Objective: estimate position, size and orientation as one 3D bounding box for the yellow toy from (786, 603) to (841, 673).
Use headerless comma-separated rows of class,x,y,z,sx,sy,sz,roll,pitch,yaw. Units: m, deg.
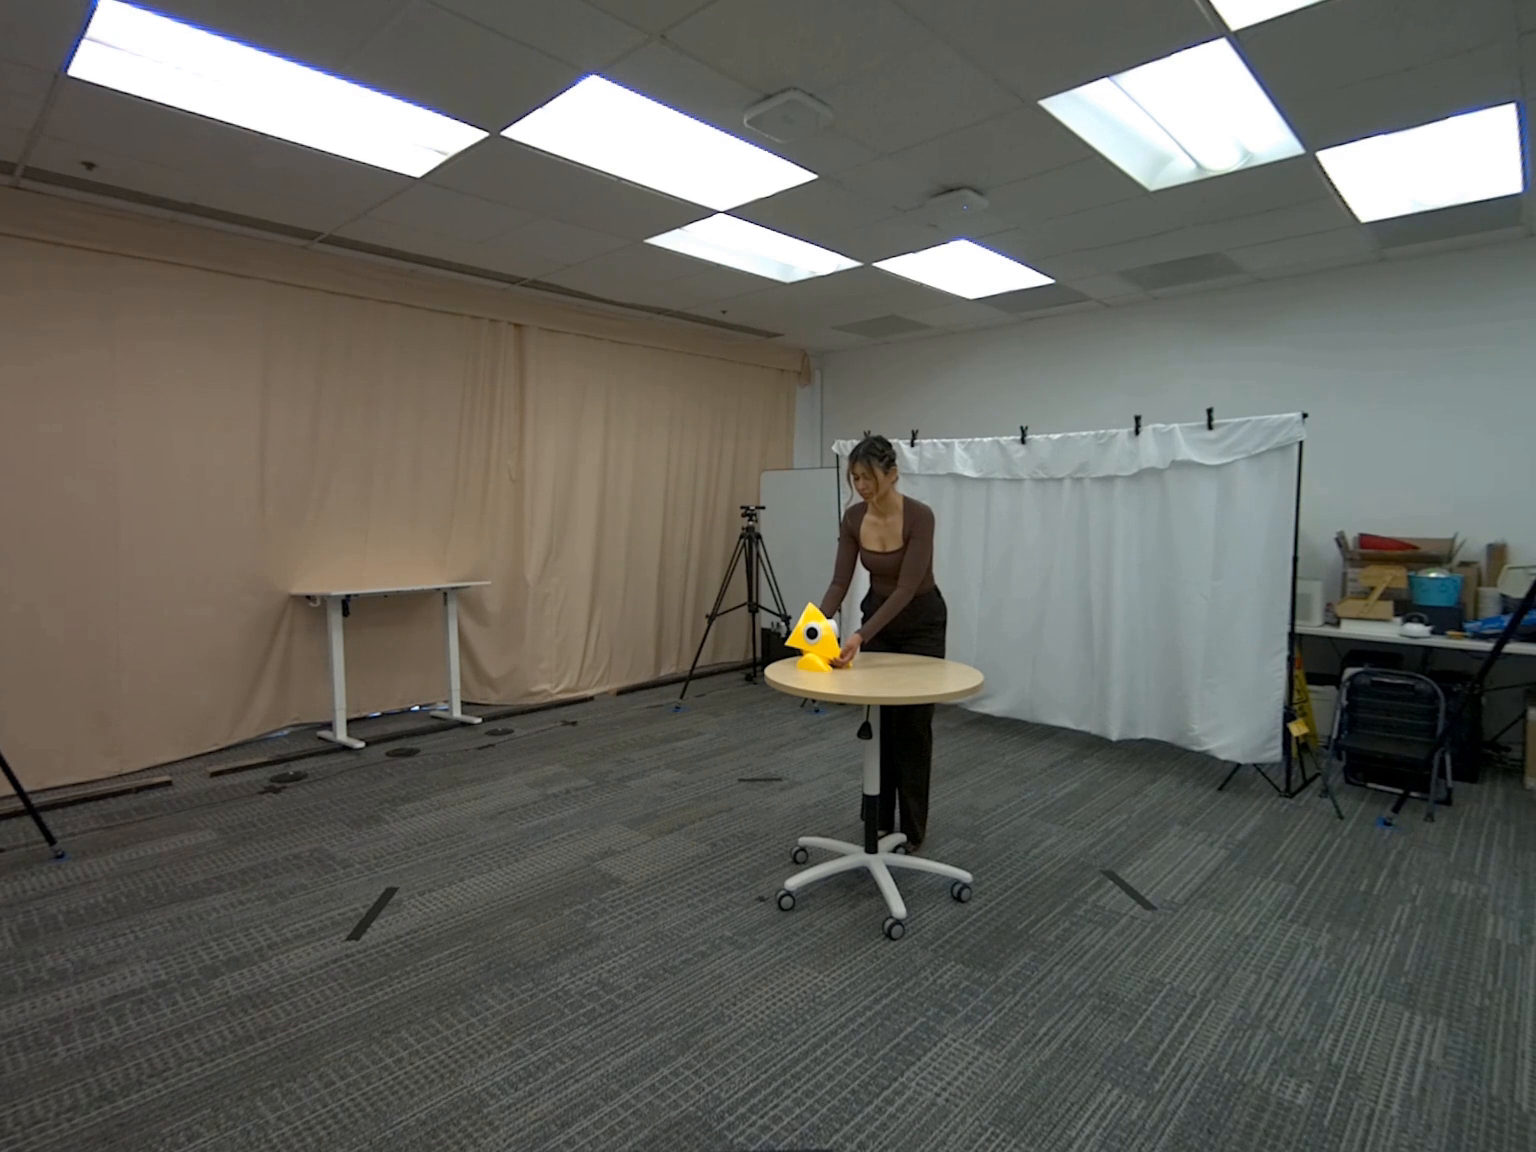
yellow toy,0.196,0.219,3.127,0.199,0.230,0.199,-5,7,-39
